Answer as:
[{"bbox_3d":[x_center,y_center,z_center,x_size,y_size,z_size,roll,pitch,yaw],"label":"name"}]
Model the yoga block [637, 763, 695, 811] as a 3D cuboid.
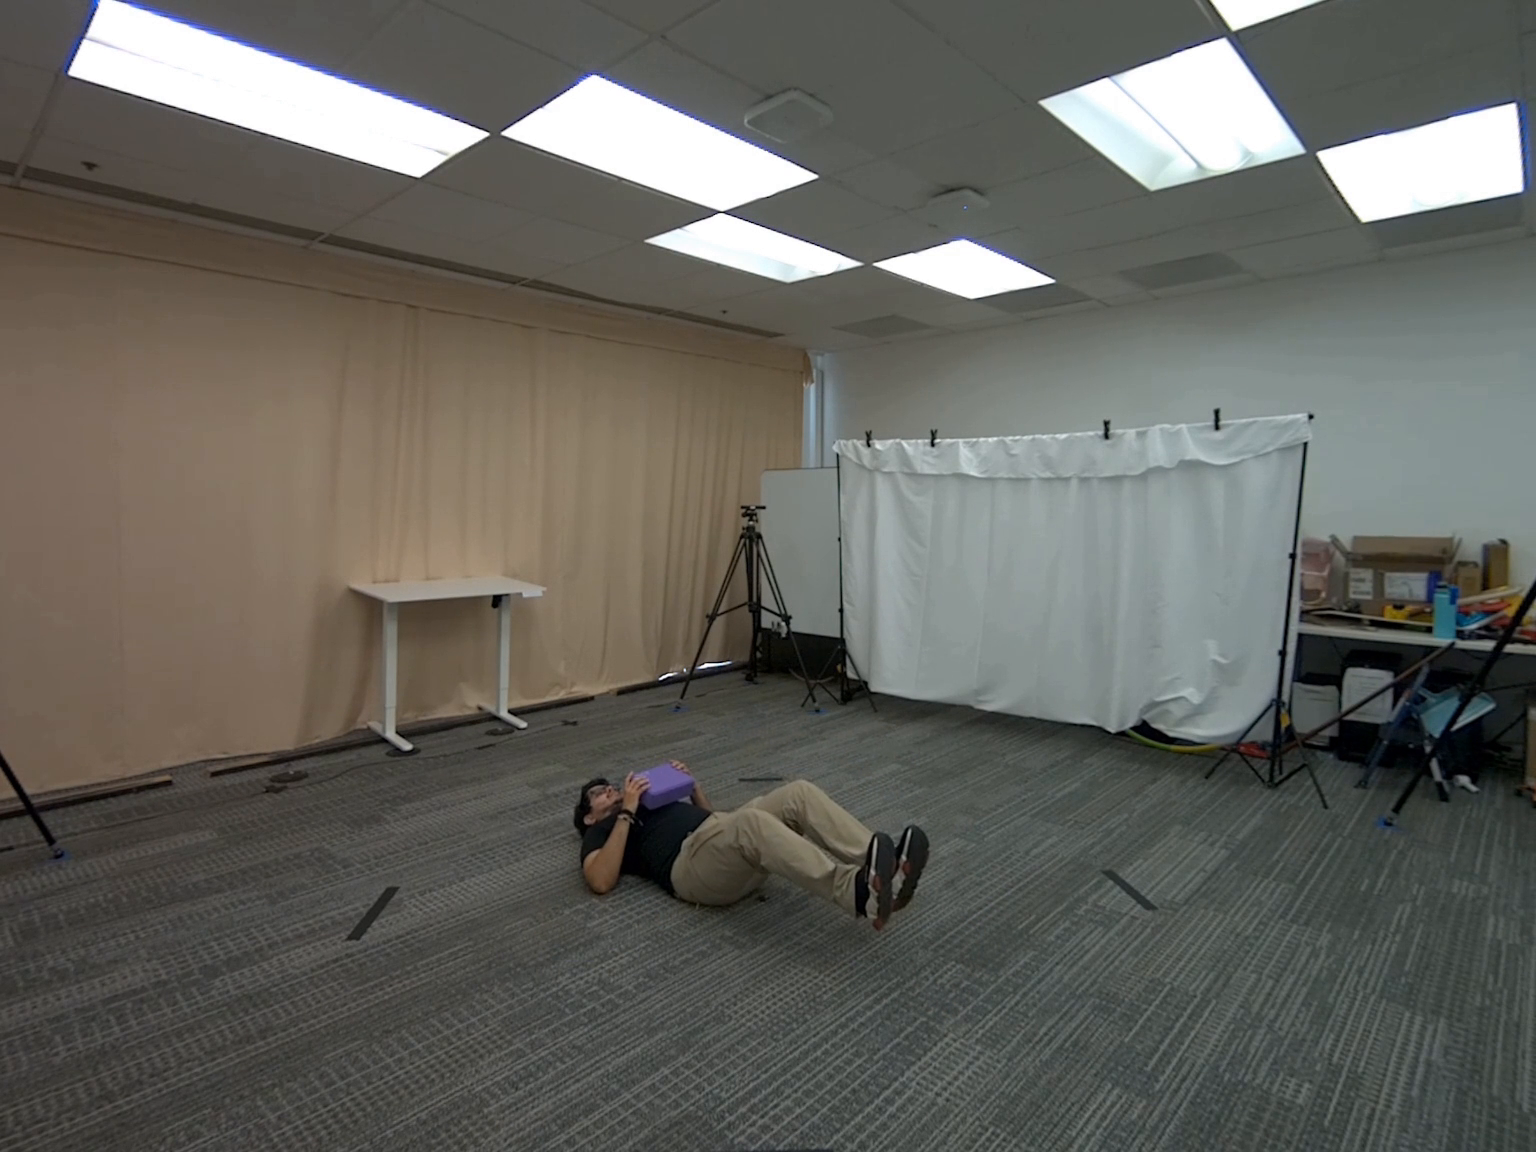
[{"bbox_3d":[-0.405,0.806,3.243,0.154,0.076,0.222,21,17,37],"label":"yoga block"}]
